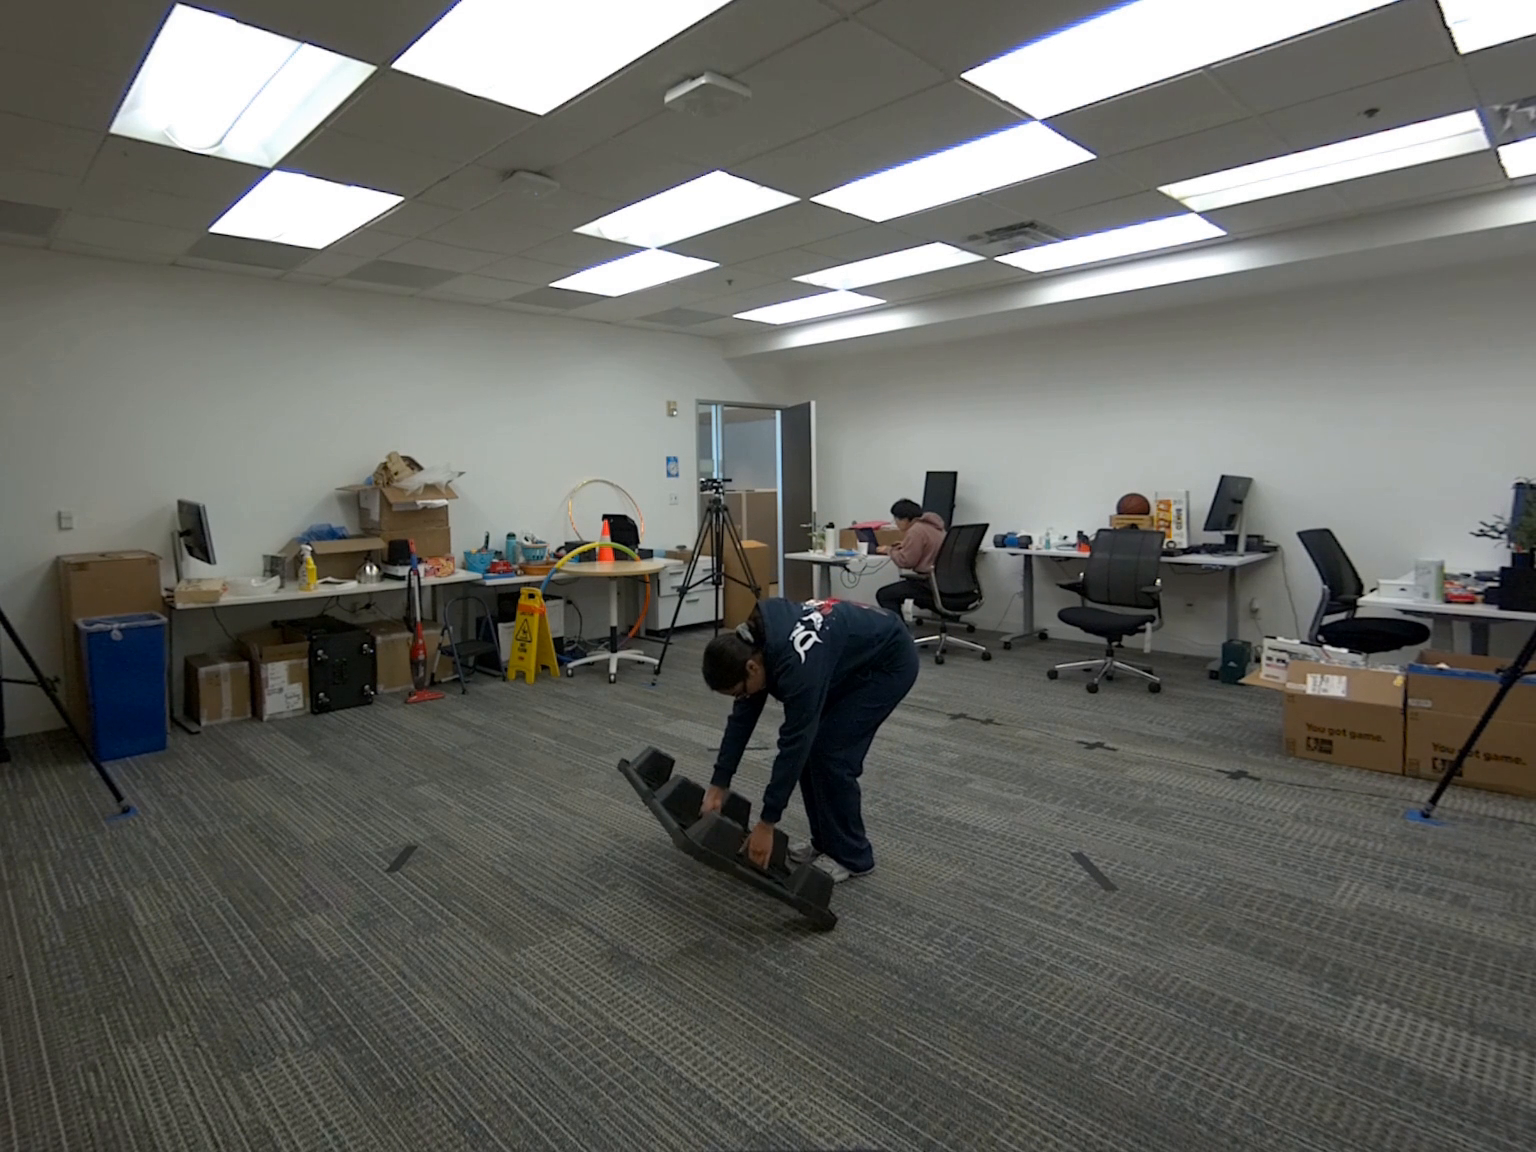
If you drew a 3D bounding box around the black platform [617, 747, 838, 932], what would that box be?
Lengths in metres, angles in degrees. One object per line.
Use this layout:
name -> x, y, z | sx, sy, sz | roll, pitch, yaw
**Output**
black platform -> -0.147, 0.849, 2.914 | 0.590, 0.143, 0.825 | 34, -8, -22
